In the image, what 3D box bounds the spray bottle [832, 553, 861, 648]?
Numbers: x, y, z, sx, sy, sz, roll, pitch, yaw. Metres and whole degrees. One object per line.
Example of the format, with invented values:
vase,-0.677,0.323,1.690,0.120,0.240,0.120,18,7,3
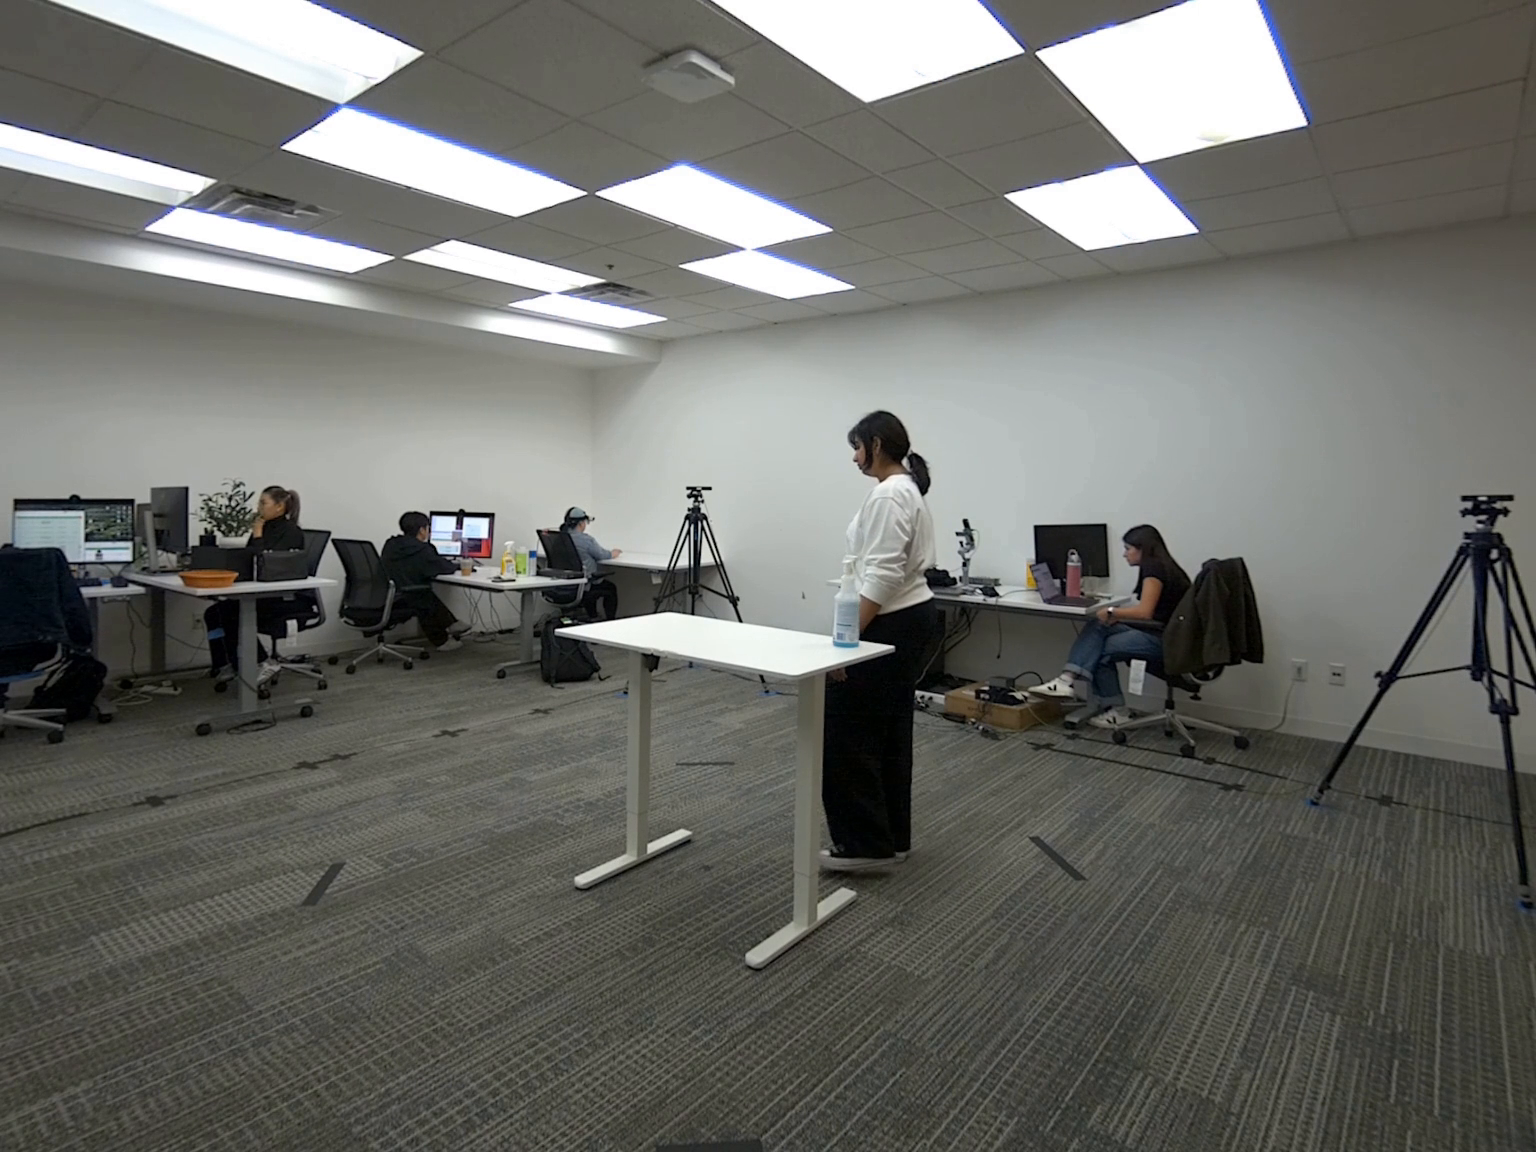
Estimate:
spray bottle,0.266,0.084,2.778,0.088,0.297,0.089,1,2,7
